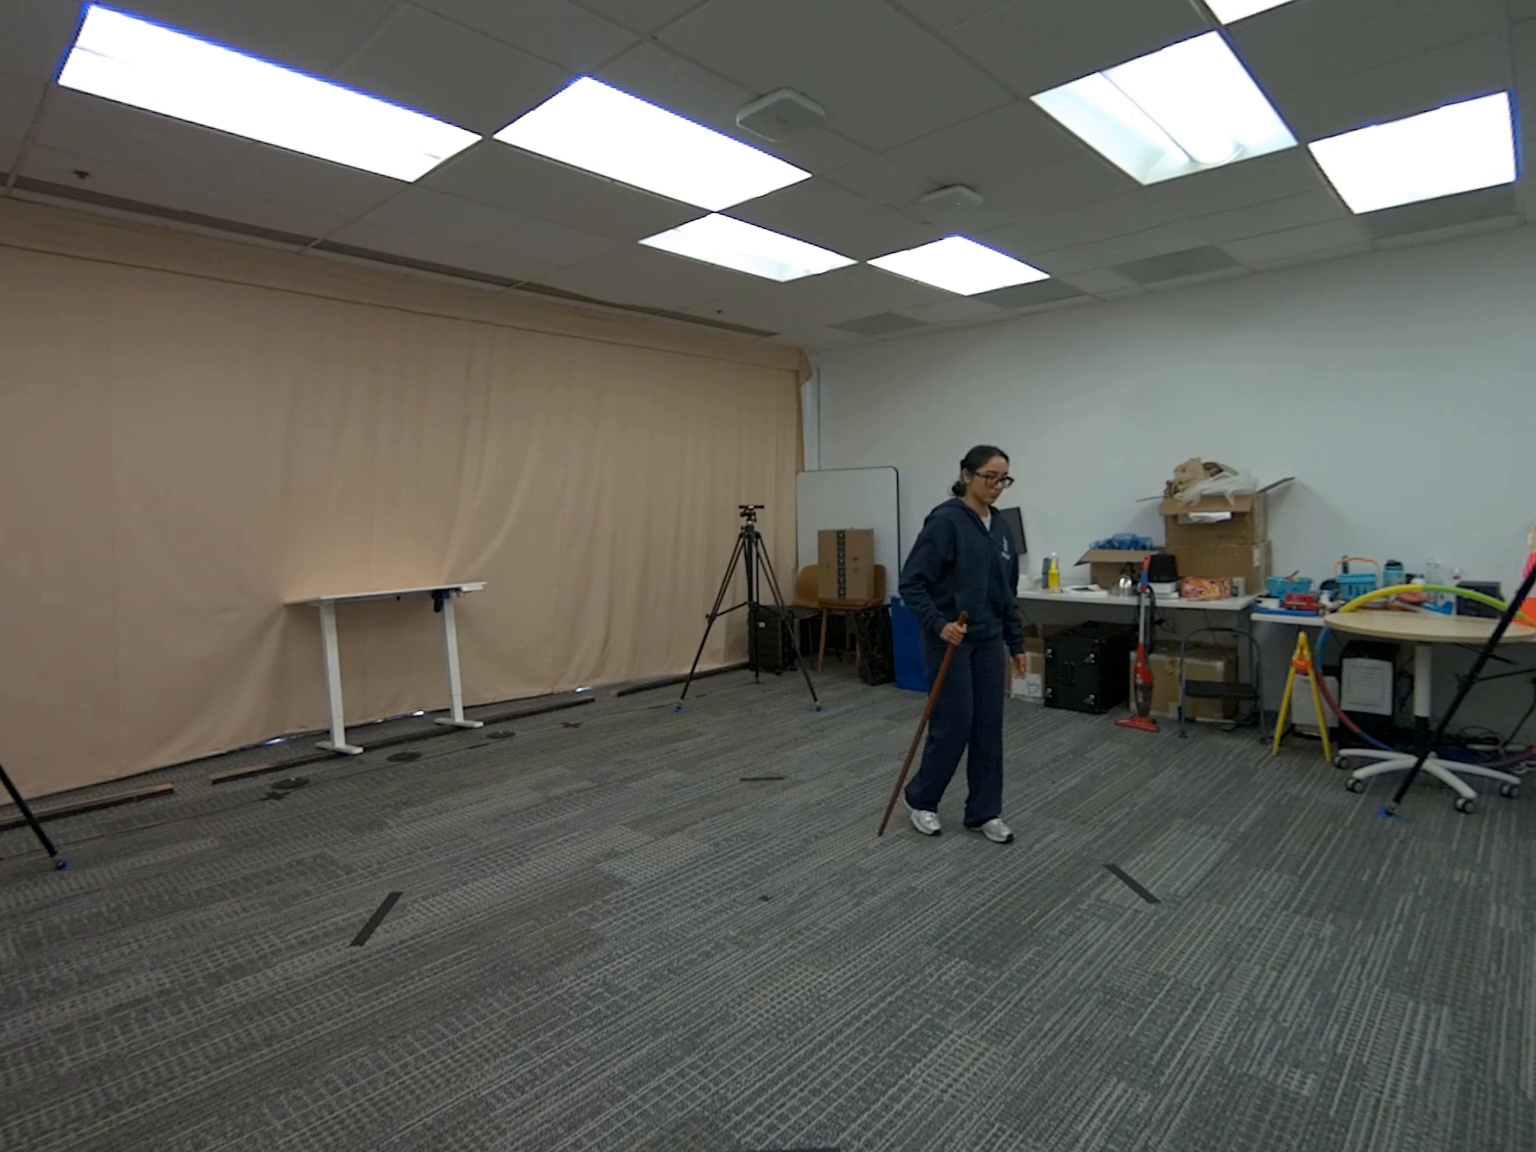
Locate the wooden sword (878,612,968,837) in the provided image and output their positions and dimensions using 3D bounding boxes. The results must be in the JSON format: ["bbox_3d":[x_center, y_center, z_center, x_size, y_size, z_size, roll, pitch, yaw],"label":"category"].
[{"bbox_3d":[0.612,0.621,3.393,0.050,1.019,0.025,5,19,-29],"label":"wooden sword"}]
